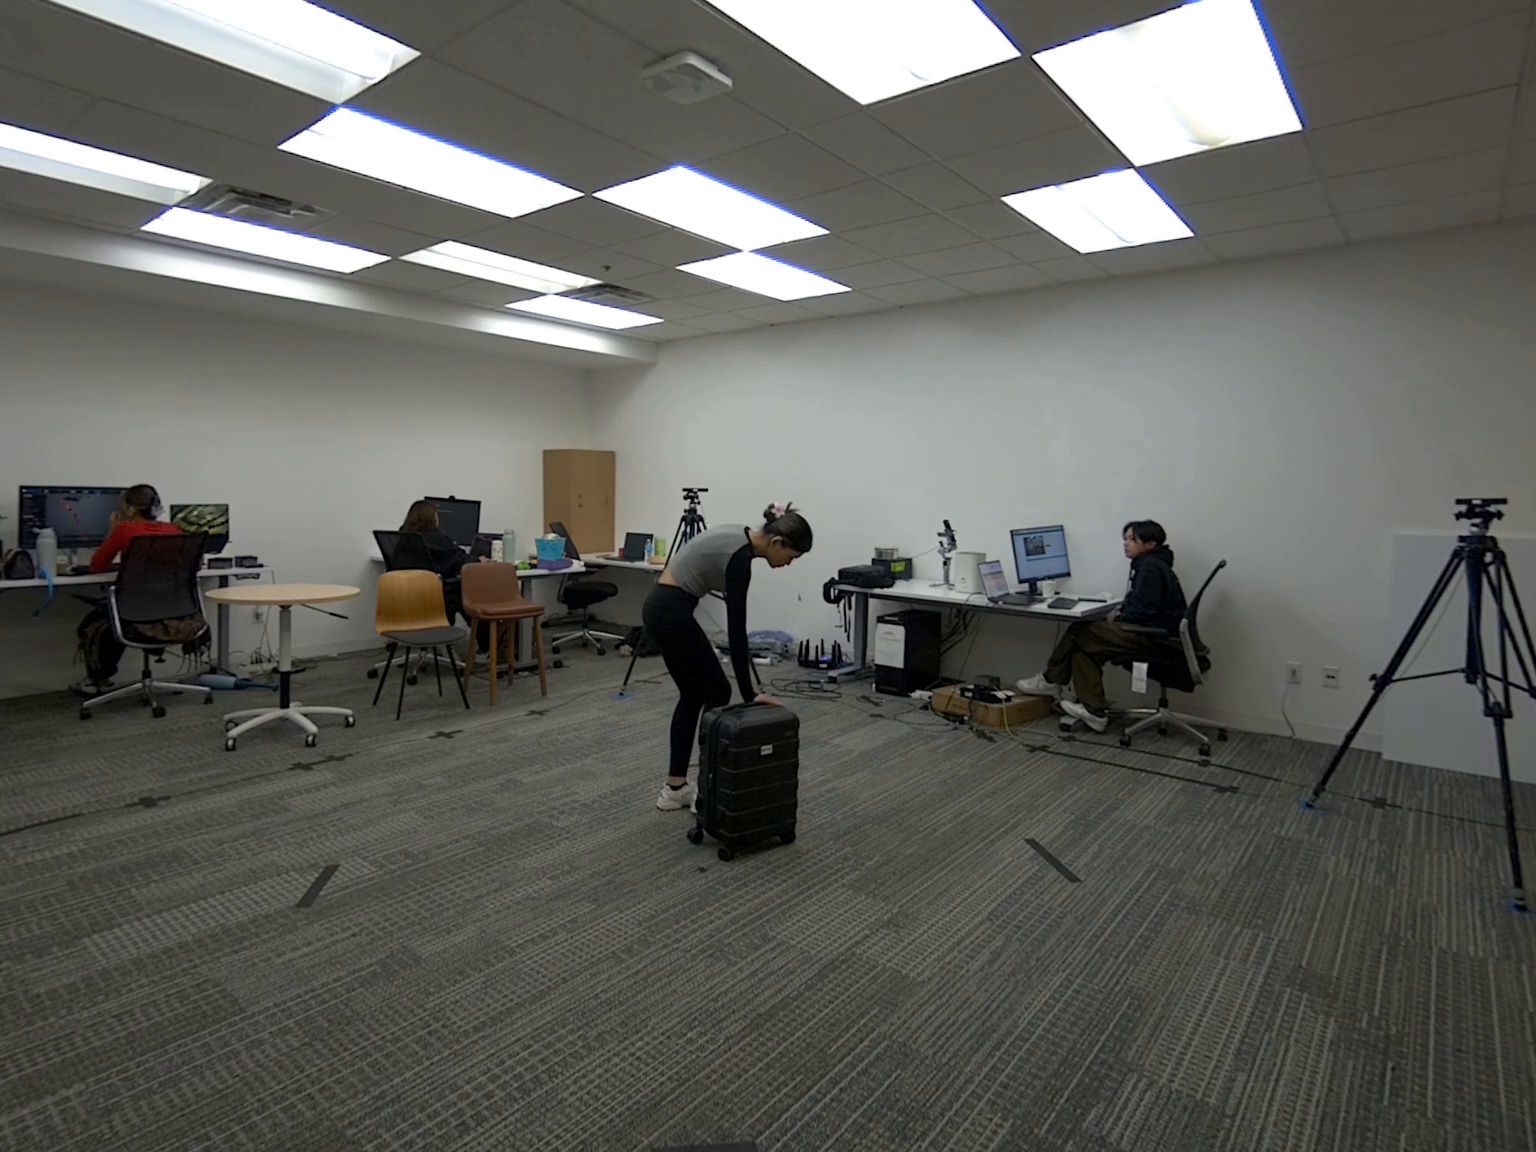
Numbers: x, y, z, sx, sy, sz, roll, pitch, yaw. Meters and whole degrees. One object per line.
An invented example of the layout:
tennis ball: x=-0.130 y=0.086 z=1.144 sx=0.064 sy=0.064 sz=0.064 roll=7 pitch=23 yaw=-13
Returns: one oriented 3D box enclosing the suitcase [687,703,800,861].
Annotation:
suitcase: x=-0.083 y=0.775 z=3.339 sx=0.364 sy=0.547 sz=0.257 roll=1 pitch=5 yaw=-36
